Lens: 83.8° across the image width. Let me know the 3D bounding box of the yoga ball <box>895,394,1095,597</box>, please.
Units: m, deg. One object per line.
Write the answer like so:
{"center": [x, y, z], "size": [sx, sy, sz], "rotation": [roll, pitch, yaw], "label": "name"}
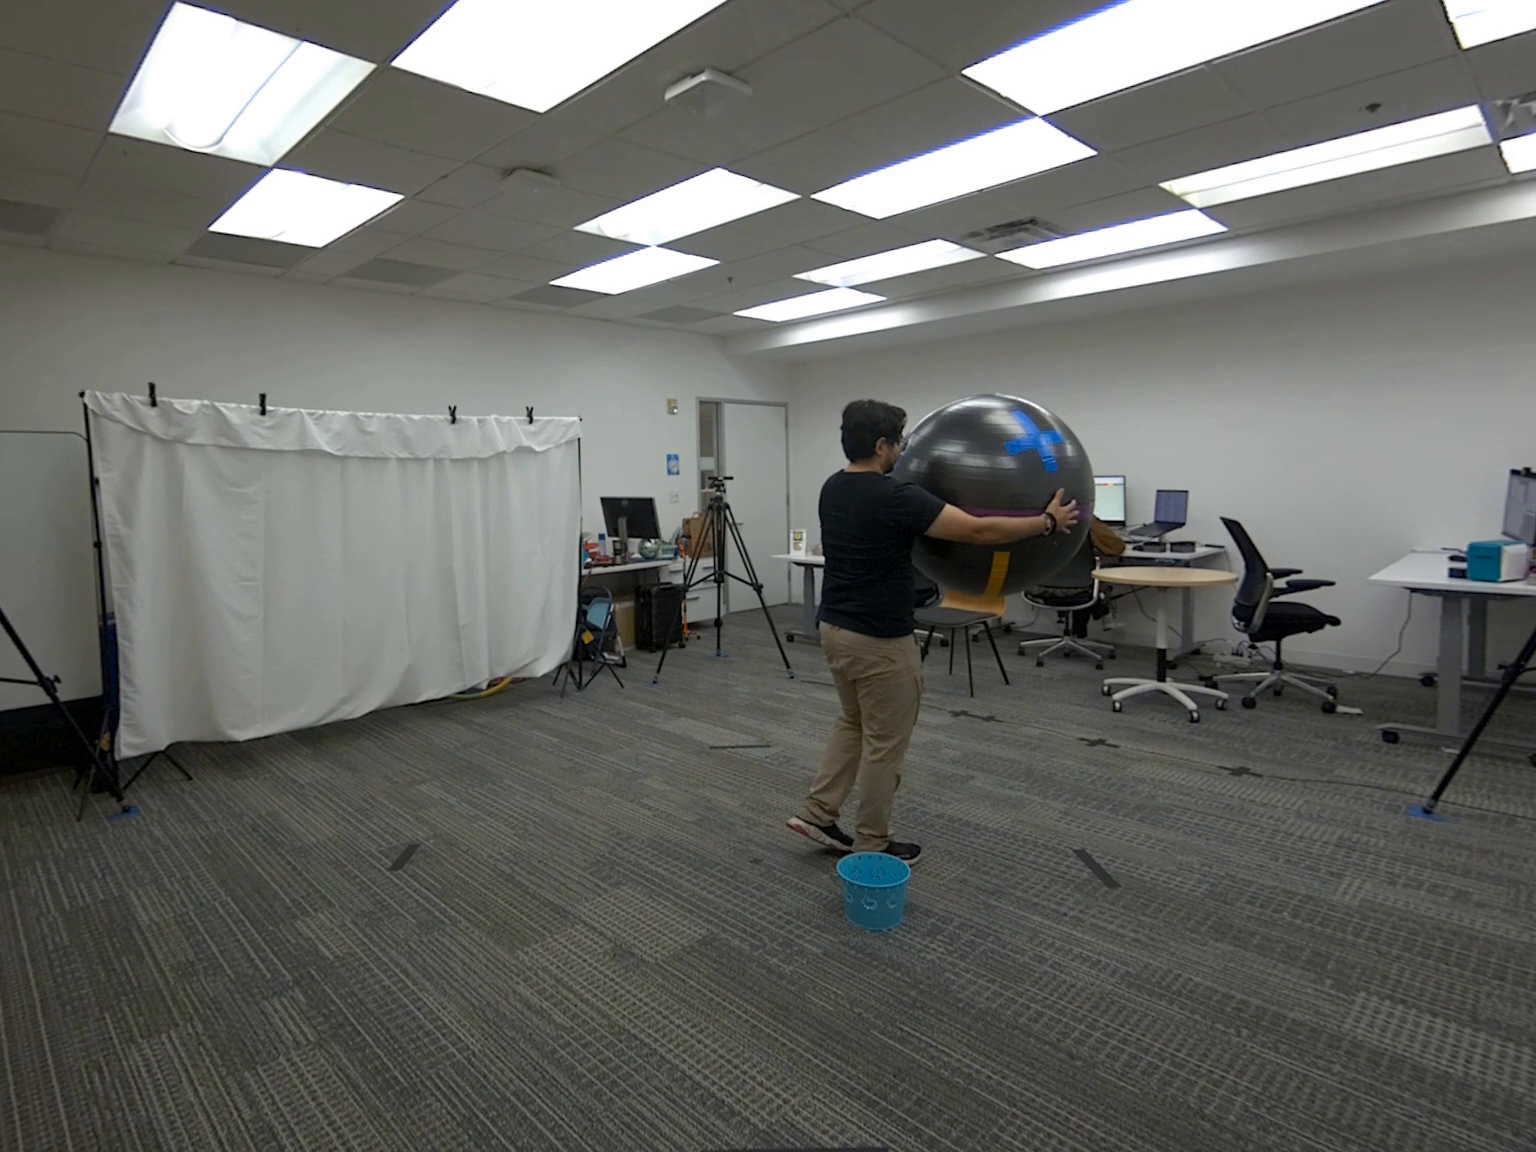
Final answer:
{"center": [0.849, -0.298, 3.241], "size": [0.757, 0.755, 0.762], "rotation": [-1, 5, -2], "label": "yoga ball"}
